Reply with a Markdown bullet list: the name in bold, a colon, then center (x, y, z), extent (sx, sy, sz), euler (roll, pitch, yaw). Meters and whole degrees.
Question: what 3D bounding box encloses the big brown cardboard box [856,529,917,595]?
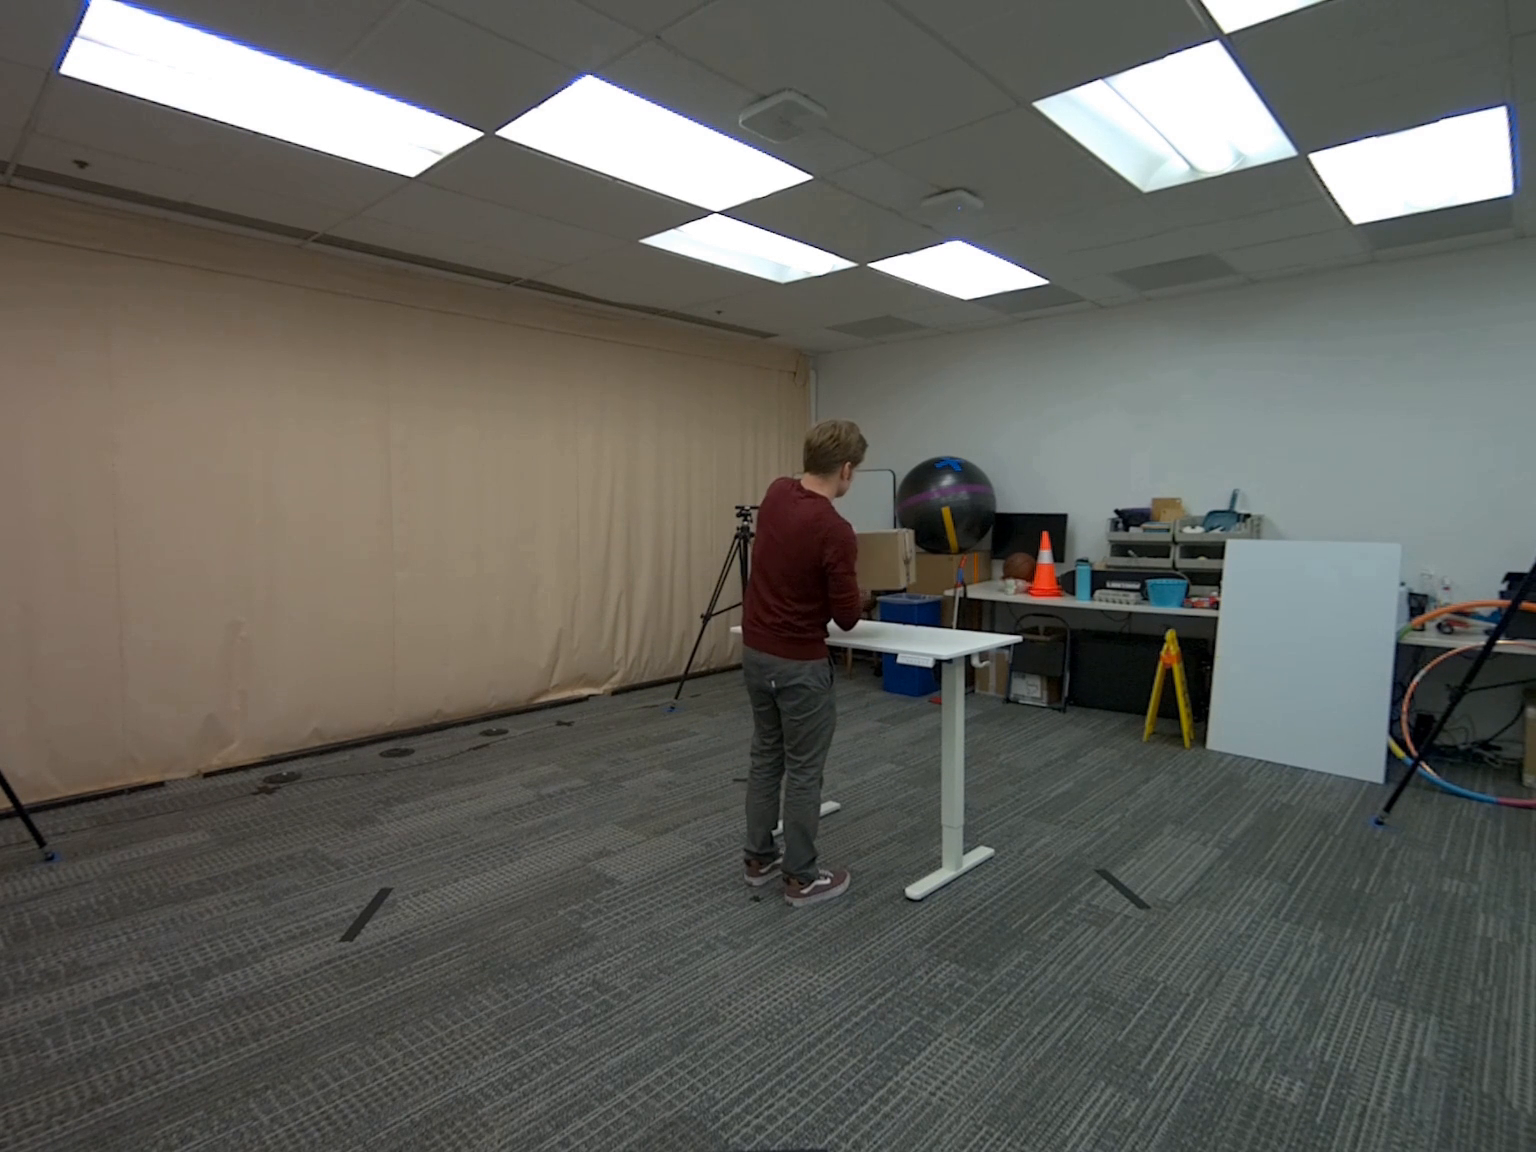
- **big brown cardboard box**: center (0.258, -0.058, 3.336), extent (0.600, 0.233, 0.410), euler (-1, 2, 18)
